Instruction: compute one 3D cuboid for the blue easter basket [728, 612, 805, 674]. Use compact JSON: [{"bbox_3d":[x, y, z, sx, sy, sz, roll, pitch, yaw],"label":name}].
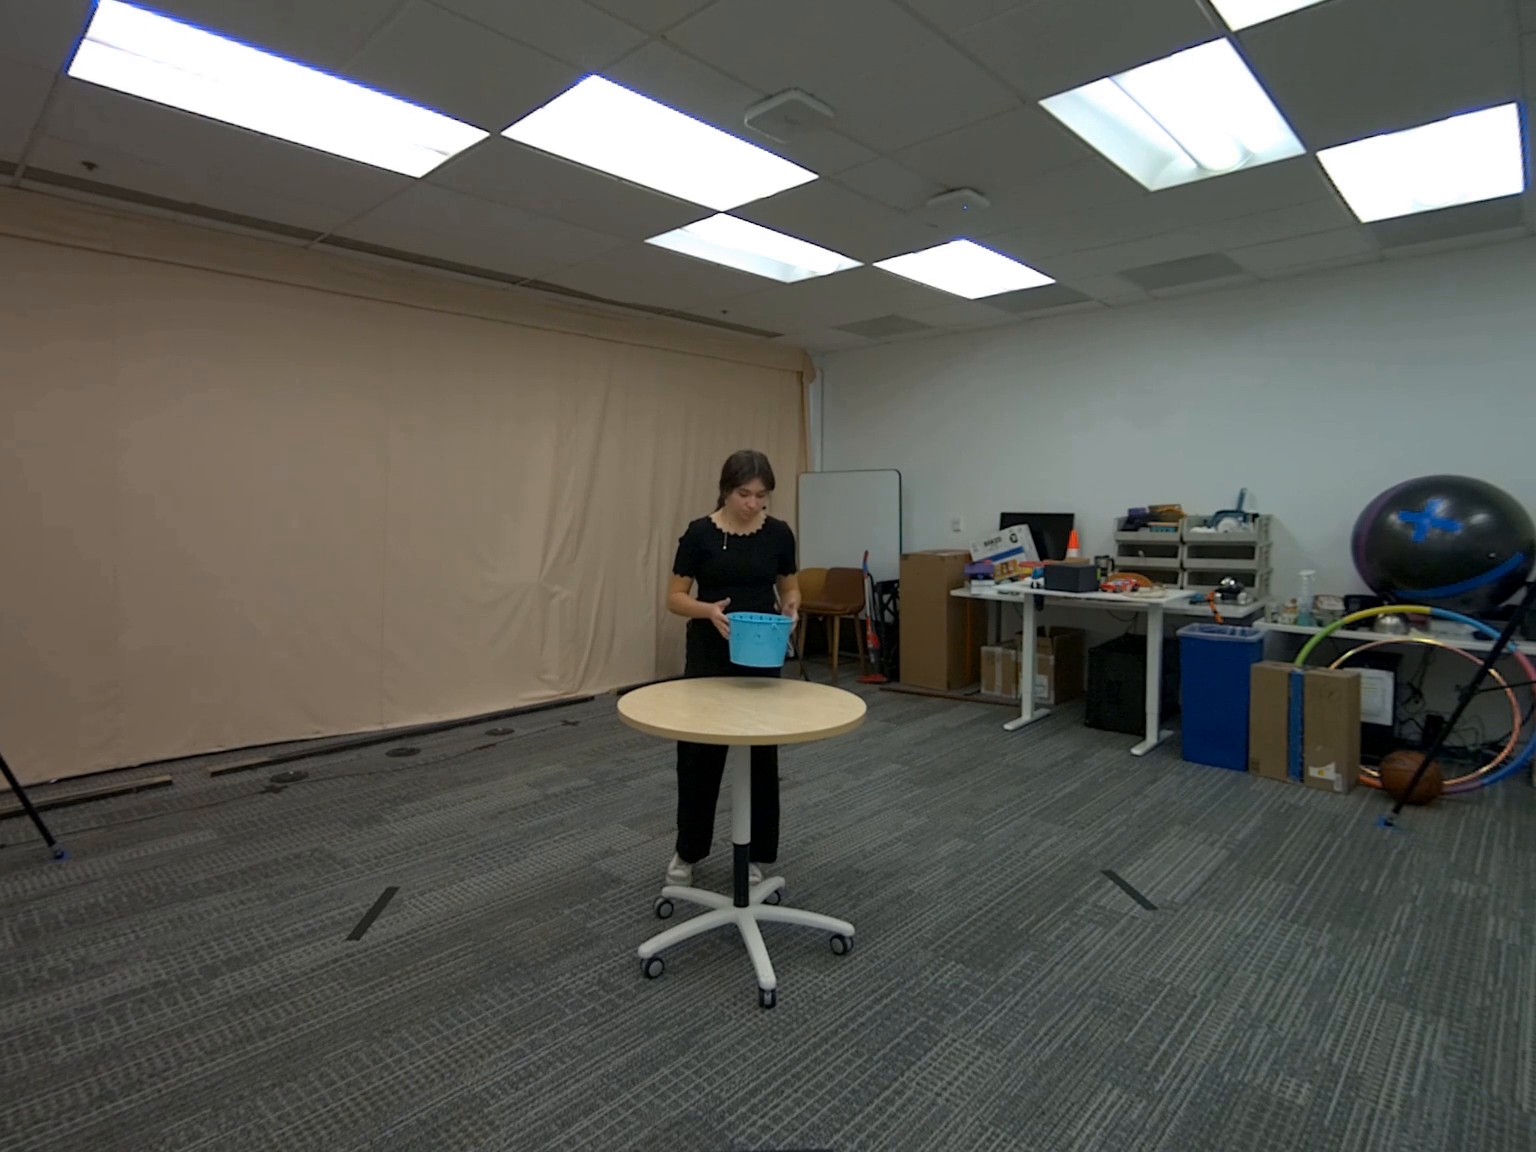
[{"bbox_3d":[-0.021,0.213,2.835,0.243,0.155,0.244,4,5,-2],"label":"blue easter basket"}]
